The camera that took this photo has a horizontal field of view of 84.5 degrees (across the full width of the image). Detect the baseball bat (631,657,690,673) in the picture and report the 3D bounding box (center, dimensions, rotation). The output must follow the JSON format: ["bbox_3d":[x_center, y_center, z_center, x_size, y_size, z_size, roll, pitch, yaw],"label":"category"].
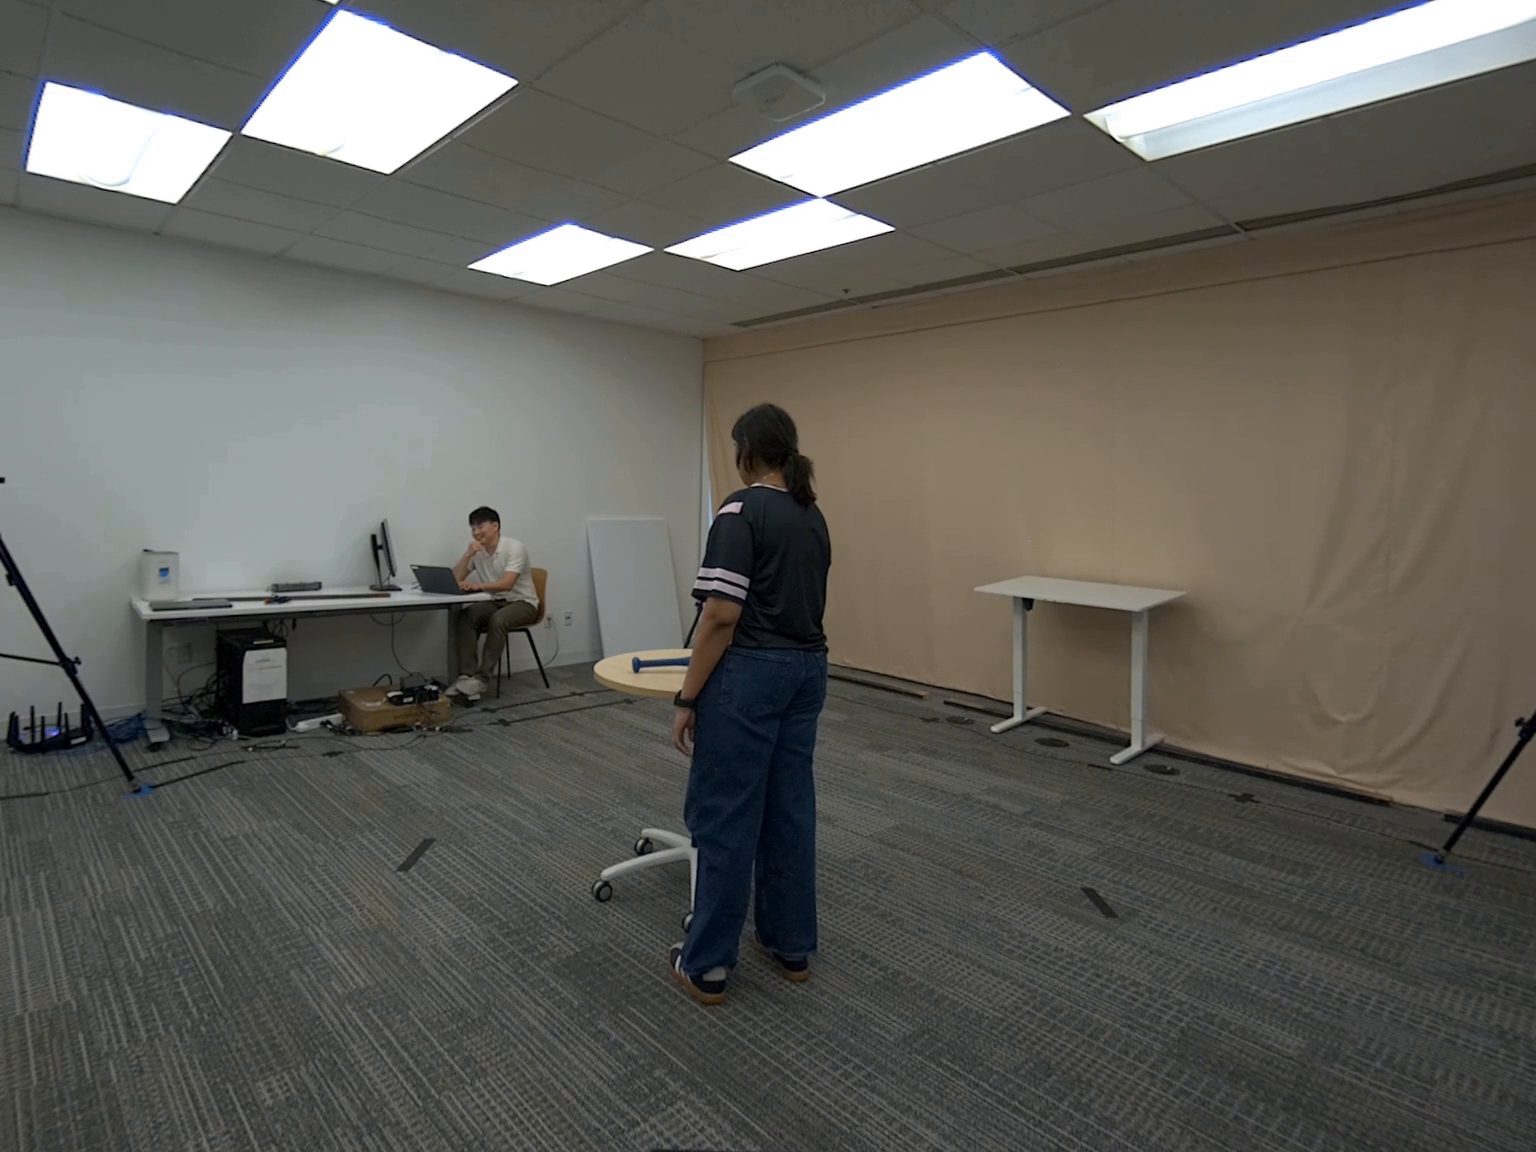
[{"bbox_3d":[-0.201,0.304,2.908,0.539,0.089,0.090,-1,5,-8],"label":"baseball bat"}]
